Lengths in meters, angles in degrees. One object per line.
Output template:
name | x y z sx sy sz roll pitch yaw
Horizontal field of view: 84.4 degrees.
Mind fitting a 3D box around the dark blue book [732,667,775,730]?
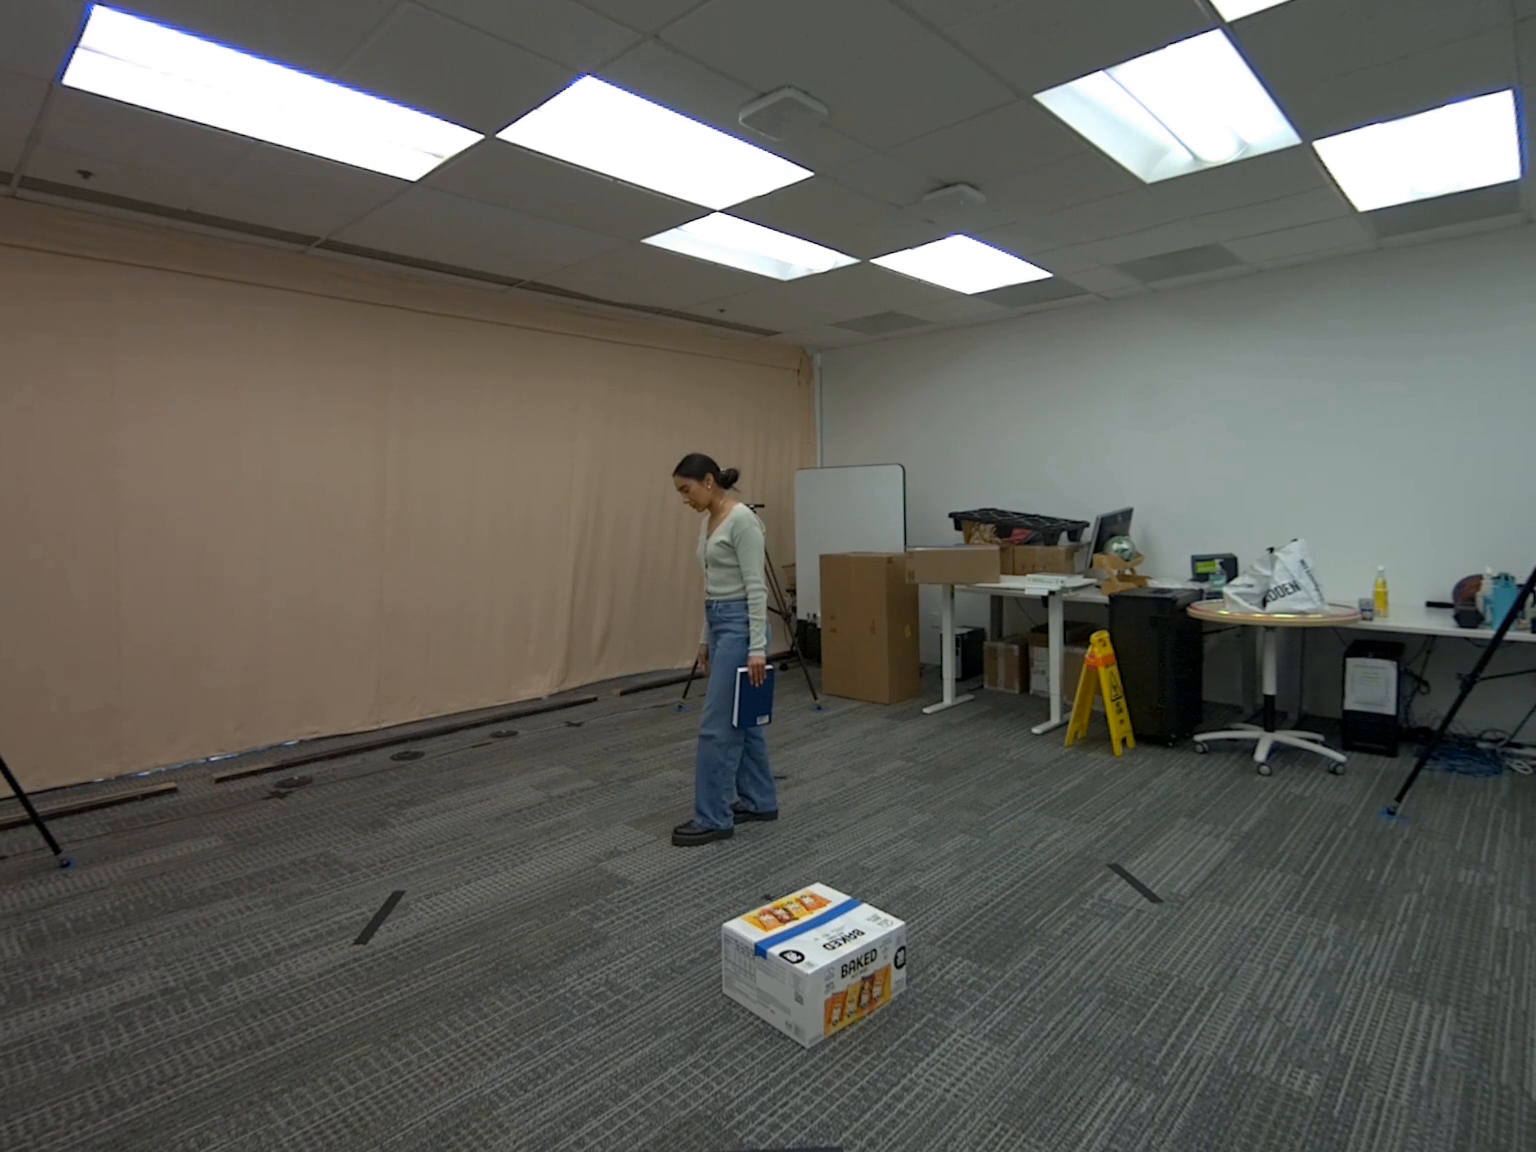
dark blue book | -0.058 0.485 3.416 0.159 0.244 0.046 0 11 -27
